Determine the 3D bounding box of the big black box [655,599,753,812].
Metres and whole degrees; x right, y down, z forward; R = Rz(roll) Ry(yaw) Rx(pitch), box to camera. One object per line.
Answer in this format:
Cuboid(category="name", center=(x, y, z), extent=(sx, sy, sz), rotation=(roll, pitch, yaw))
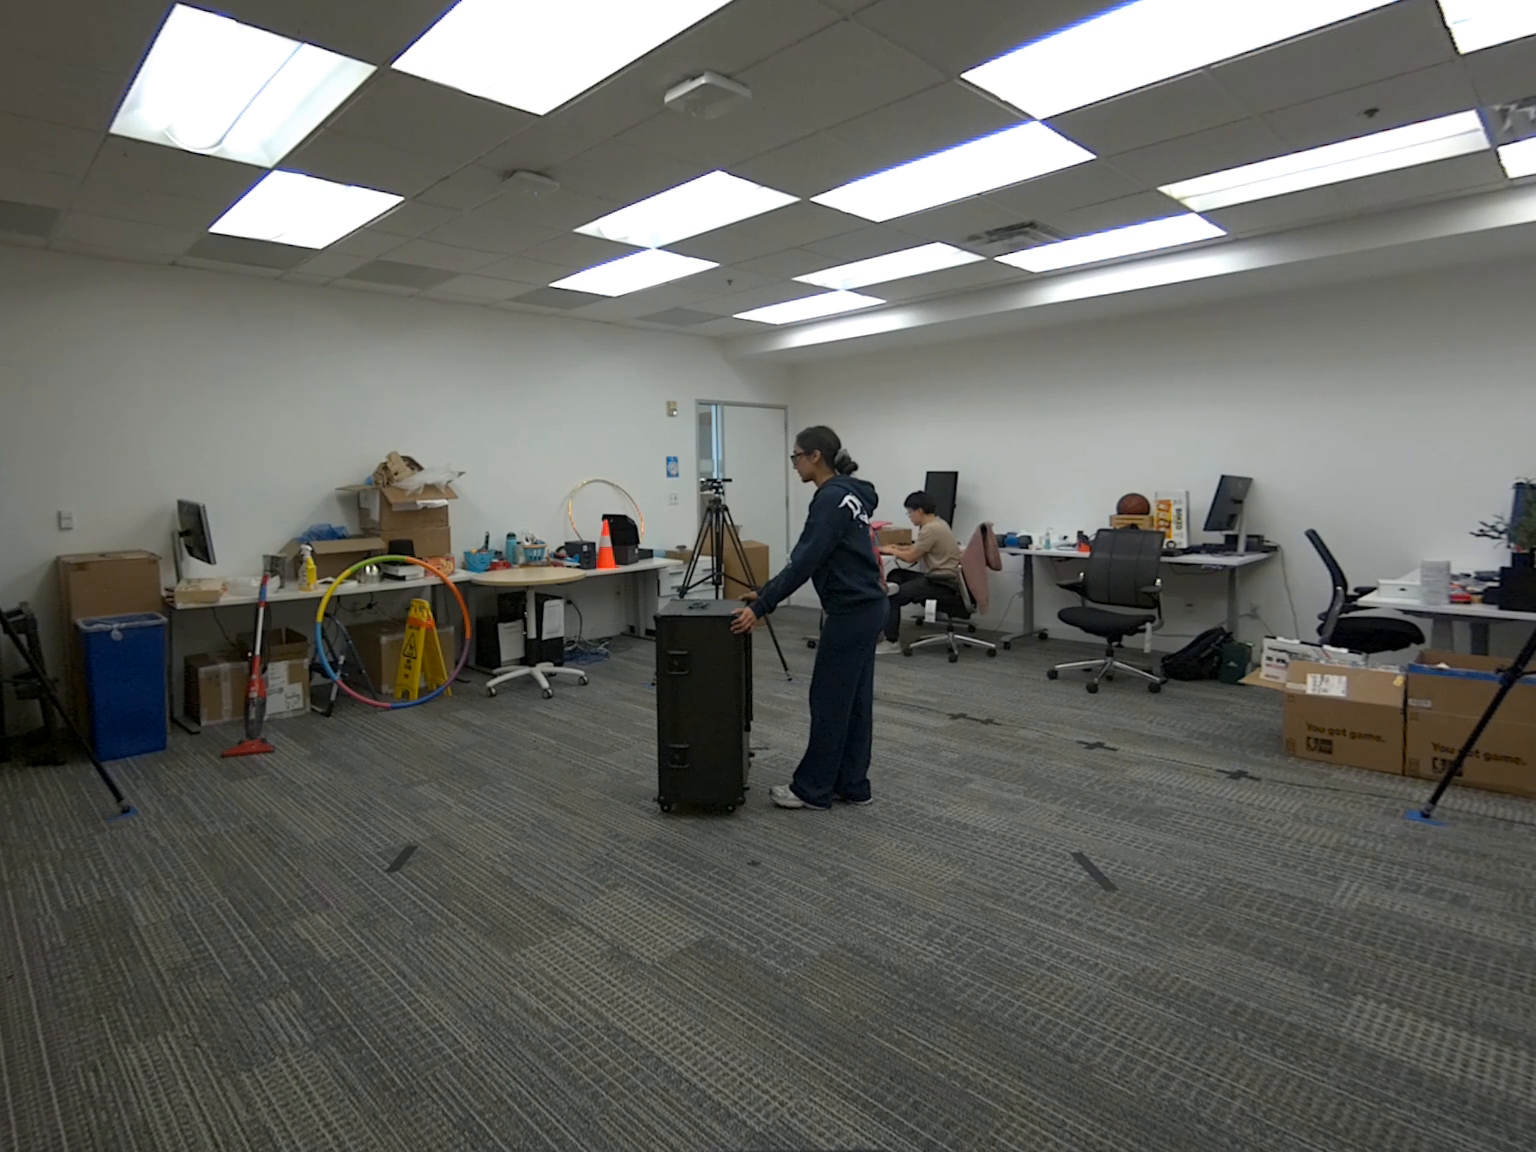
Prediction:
Cuboid(category="big black box", center=(-0.258, 0.553, 3.716), extent=(0.398, 0.859, 0.521), rotation=(1, 4, 4))
